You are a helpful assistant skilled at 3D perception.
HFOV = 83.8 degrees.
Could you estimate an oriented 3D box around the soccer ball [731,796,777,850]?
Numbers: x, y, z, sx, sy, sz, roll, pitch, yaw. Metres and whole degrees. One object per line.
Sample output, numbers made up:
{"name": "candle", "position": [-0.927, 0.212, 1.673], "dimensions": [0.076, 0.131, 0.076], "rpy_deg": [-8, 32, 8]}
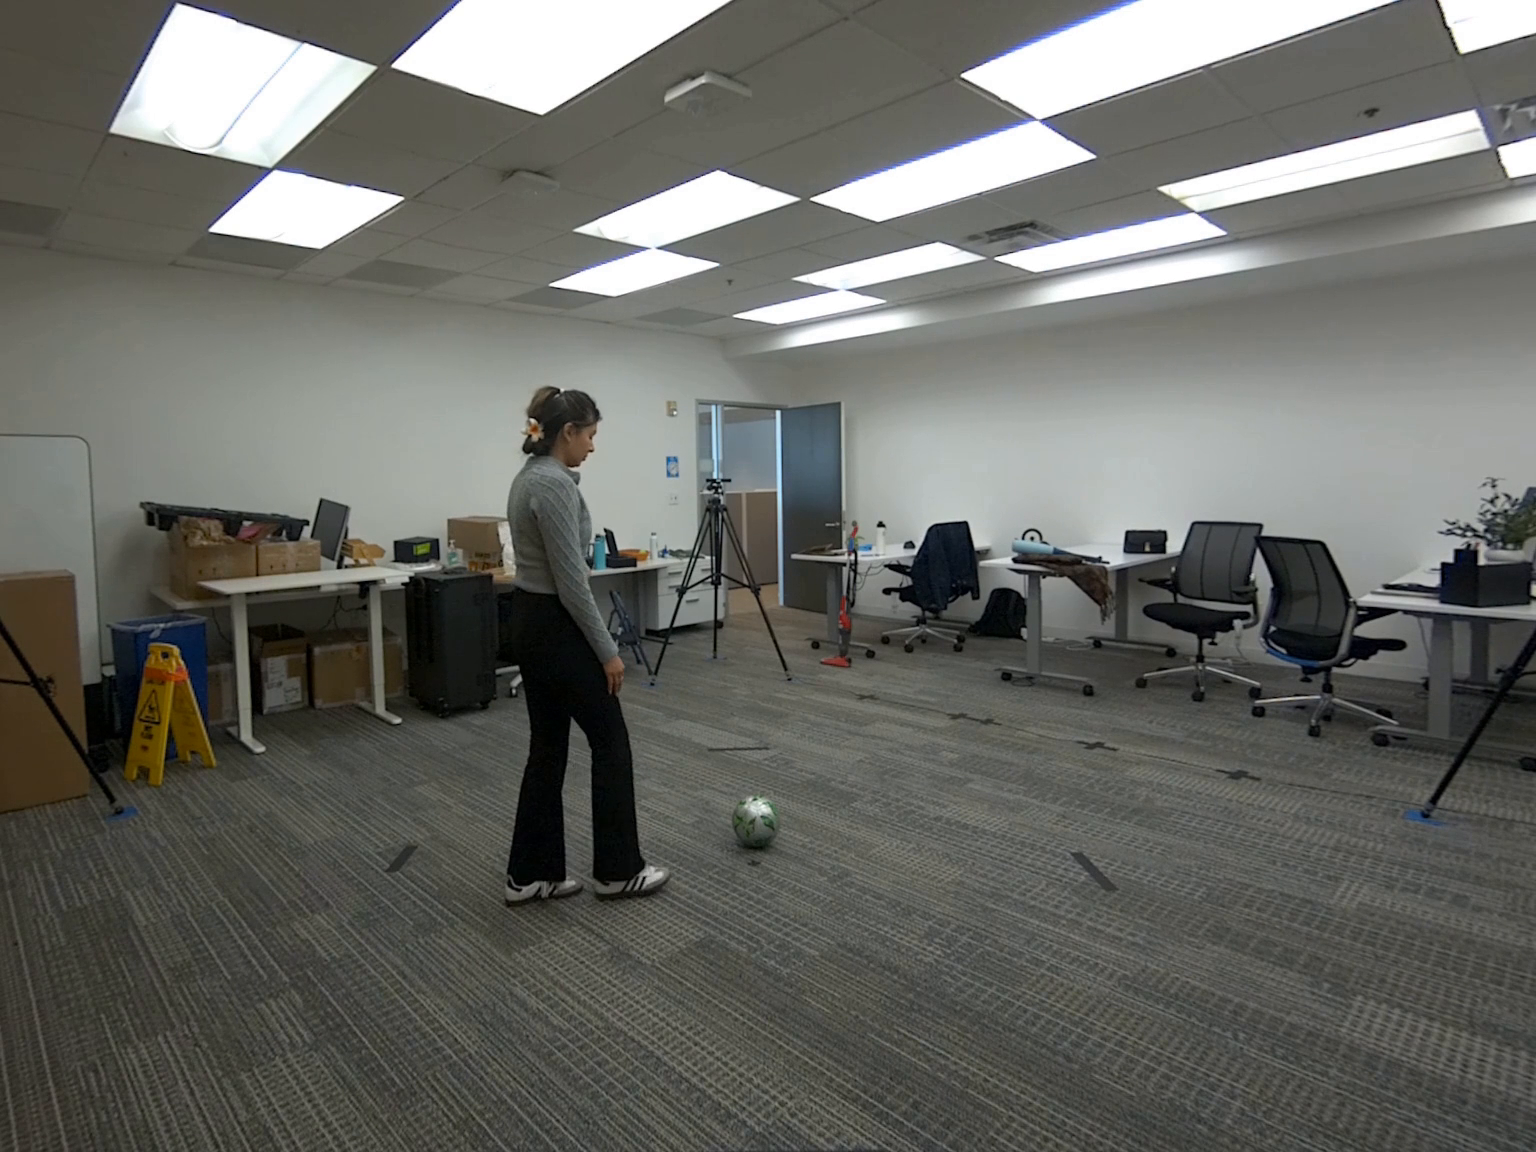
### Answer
{"name": "soccer ball", "position": [-0.044, 0.934, 3.255], "dimensions": [0.187, 0.187, 0.188], "rpy_deg": [-1, 5, -2]}
